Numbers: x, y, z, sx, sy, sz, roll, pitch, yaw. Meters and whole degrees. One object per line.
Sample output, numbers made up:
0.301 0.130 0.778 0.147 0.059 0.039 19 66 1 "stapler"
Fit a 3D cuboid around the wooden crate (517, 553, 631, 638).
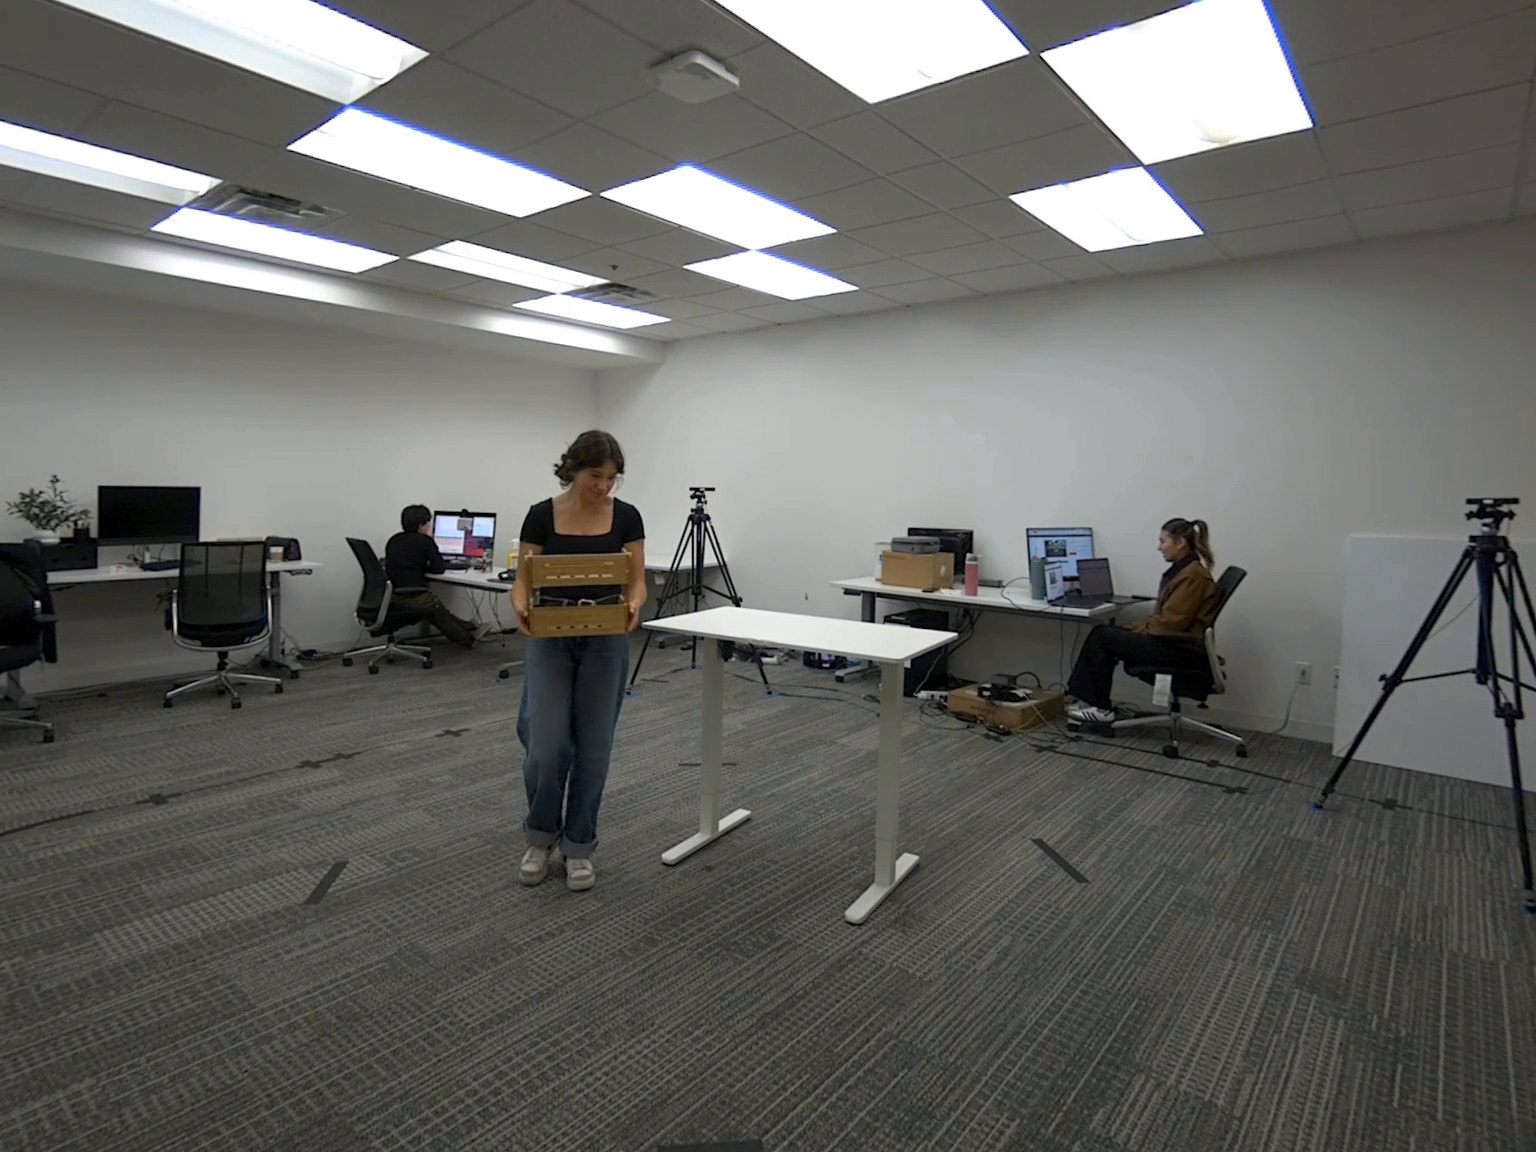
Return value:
-0.625 0.037 2.732 0.321 0.272 0.307 -1 7 -12 "wooden crate"
